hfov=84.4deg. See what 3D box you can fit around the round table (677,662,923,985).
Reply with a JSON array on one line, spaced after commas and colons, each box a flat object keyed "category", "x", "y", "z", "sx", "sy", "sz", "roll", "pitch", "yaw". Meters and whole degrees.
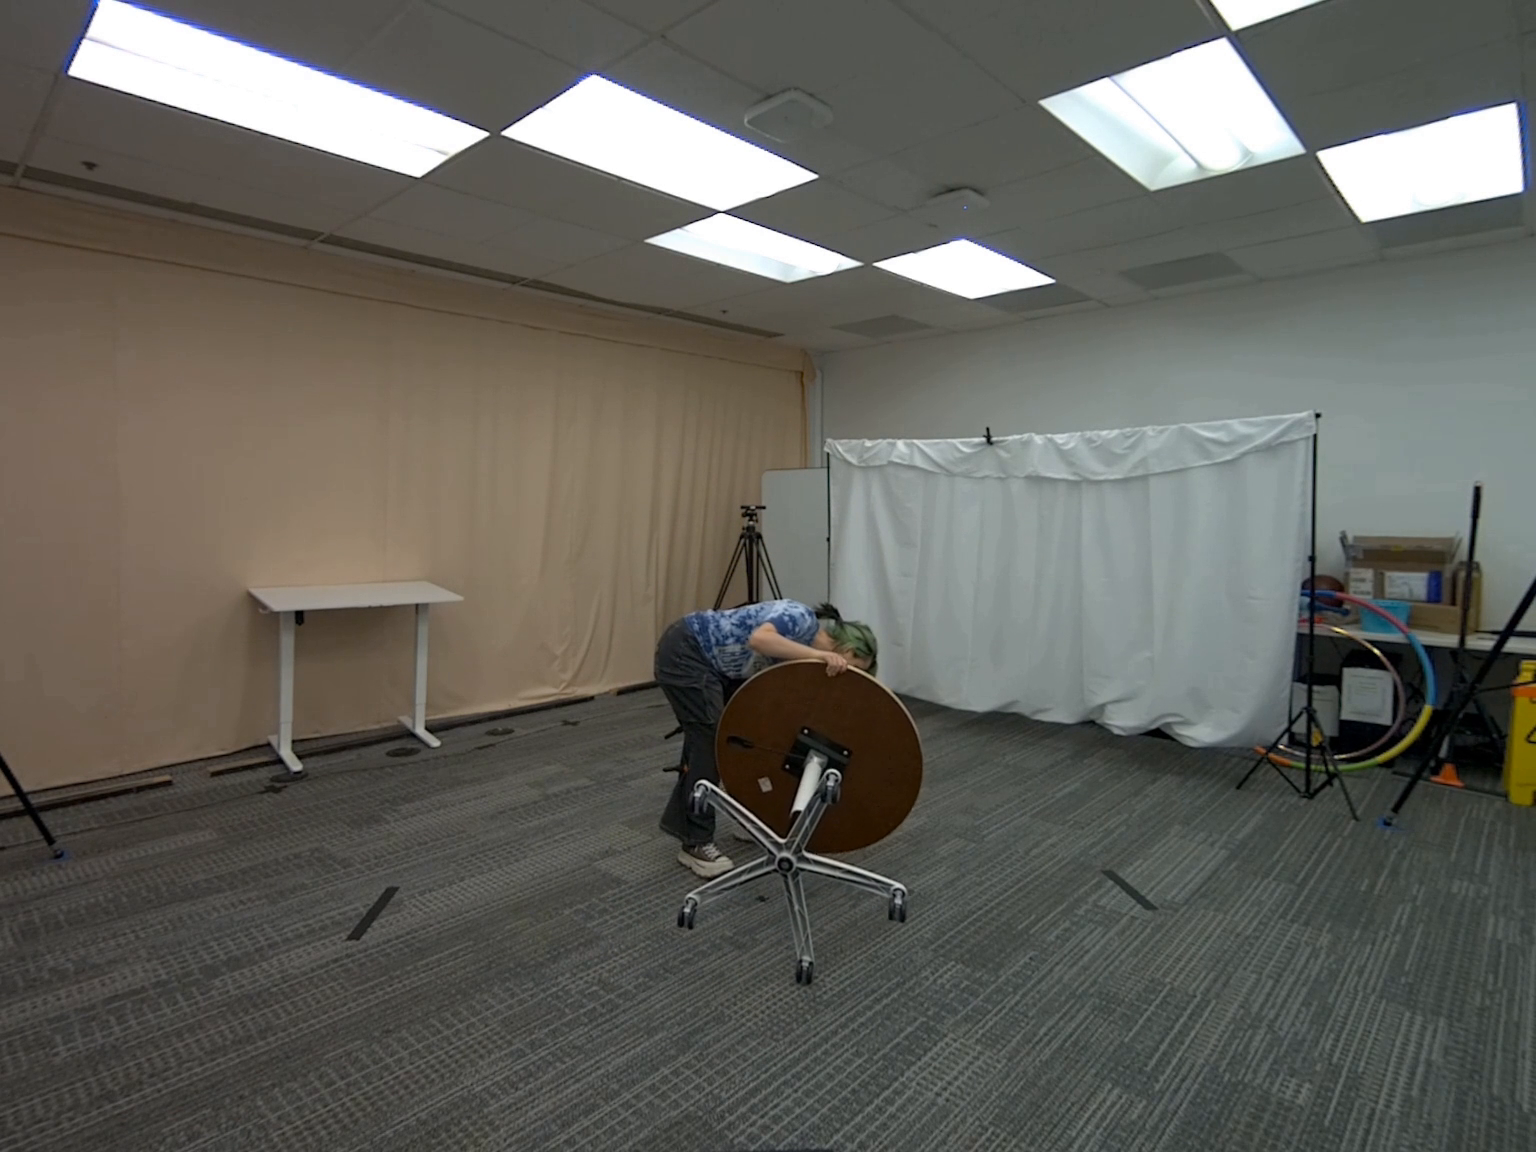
[{"category": "round table", "x": 0.121, "y": 0.774, "z": 2.748, "sx": 0.775, "sy": 0.757, "sz": 0.789, "roll": 1, "pitch": 13, "yaw": 12}]
